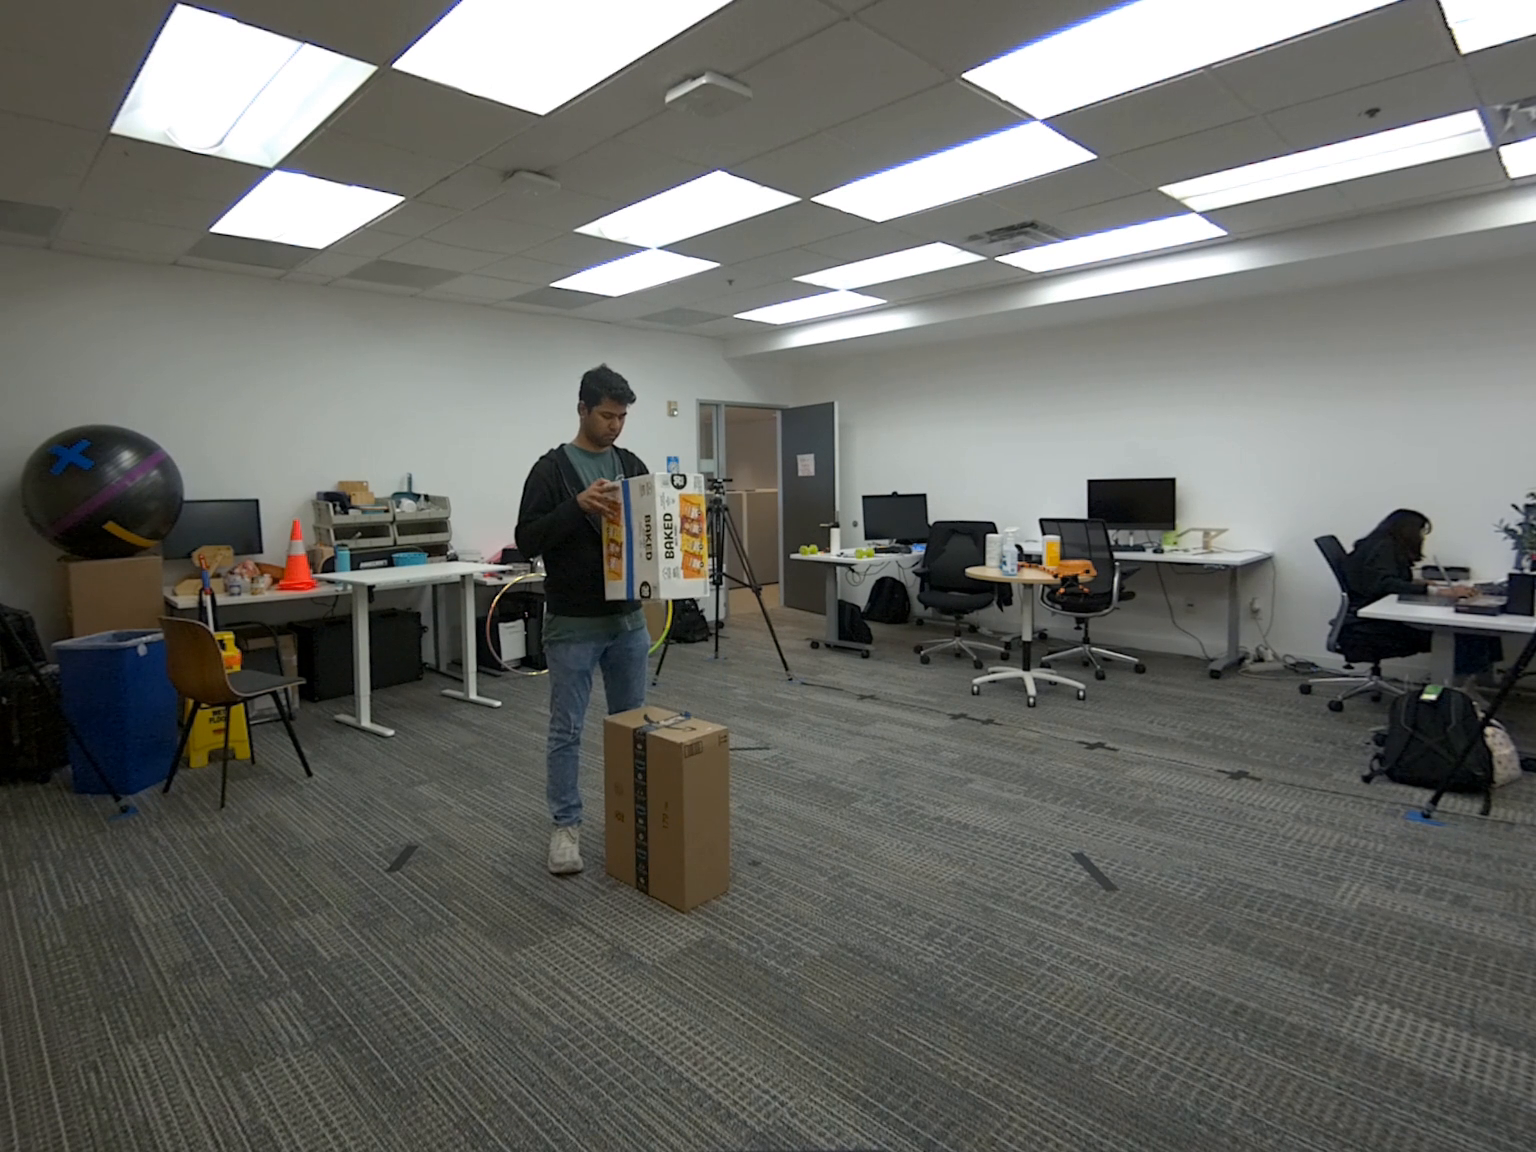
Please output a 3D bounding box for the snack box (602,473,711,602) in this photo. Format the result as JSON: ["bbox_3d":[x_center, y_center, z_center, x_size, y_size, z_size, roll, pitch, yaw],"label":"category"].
[{"bbox_3d":[-0.381,-0.097,2.891,0.200,0.406,0.349,-1,-2,-39],"label":"snack box"}]
